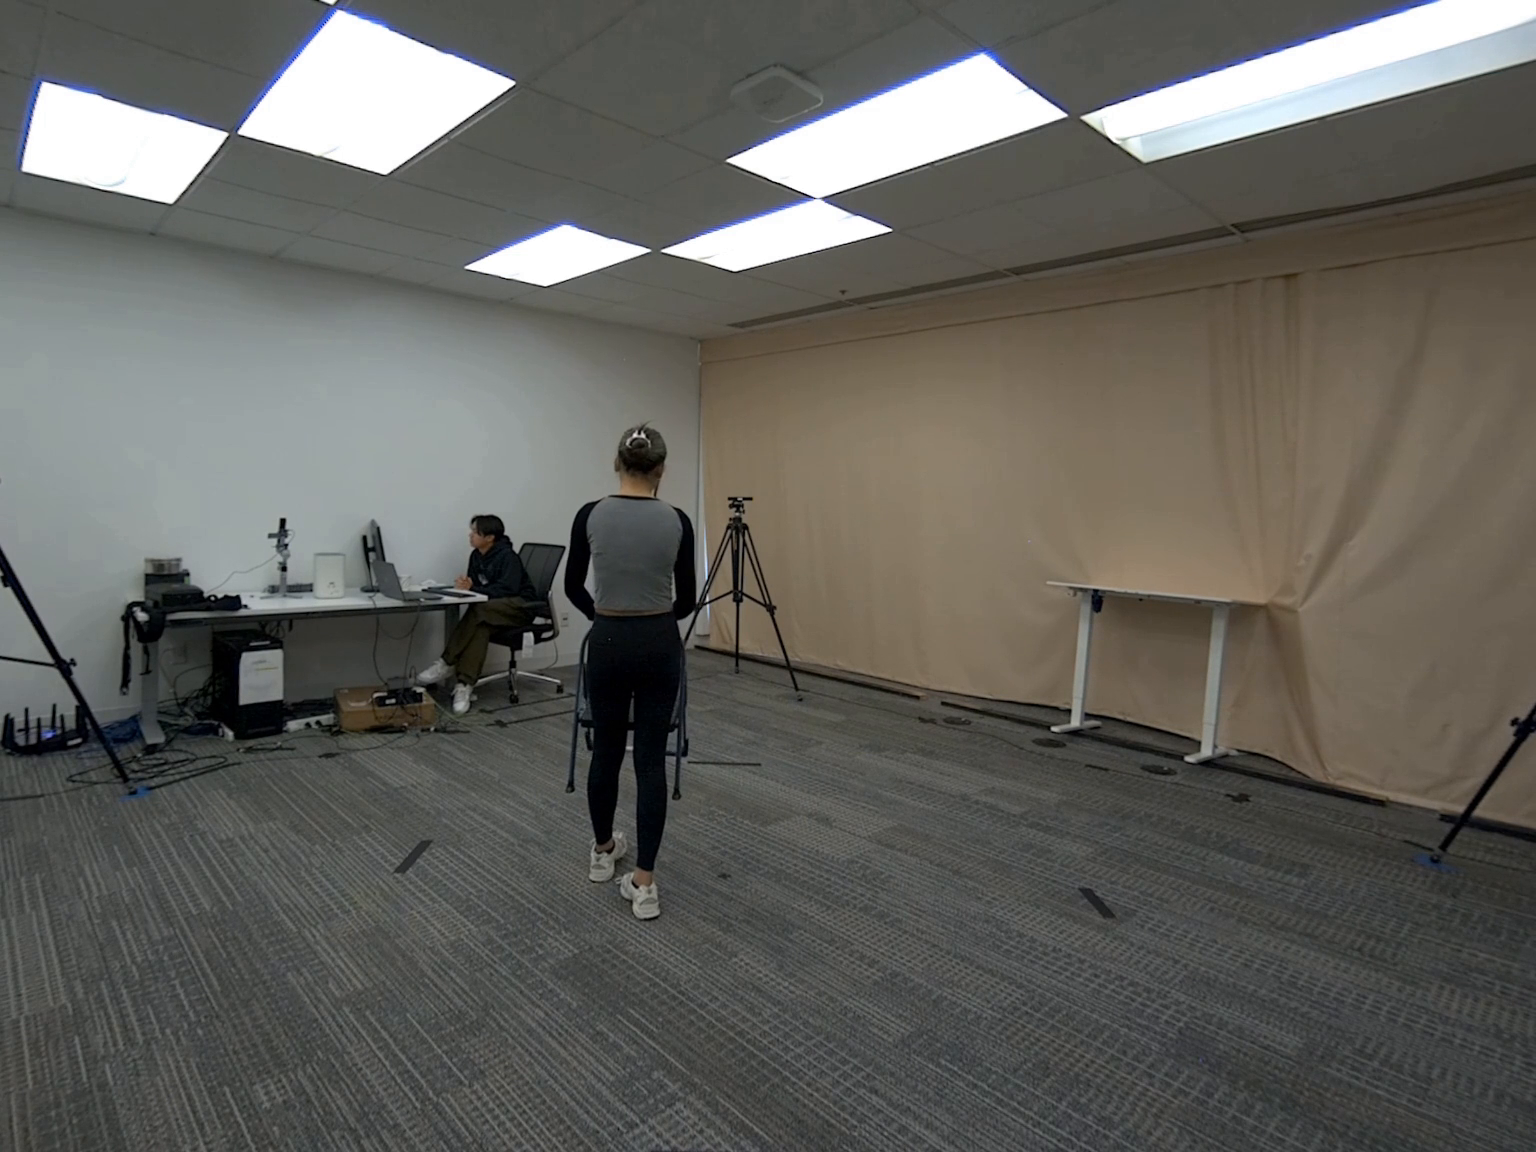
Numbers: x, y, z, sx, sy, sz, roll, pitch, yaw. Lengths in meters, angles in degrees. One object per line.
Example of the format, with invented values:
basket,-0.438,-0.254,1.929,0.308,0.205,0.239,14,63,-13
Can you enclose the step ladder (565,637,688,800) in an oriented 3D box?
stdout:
step ladder,-0.528,0.484,3.187,0.431,0.600,0.352,3,14,1
